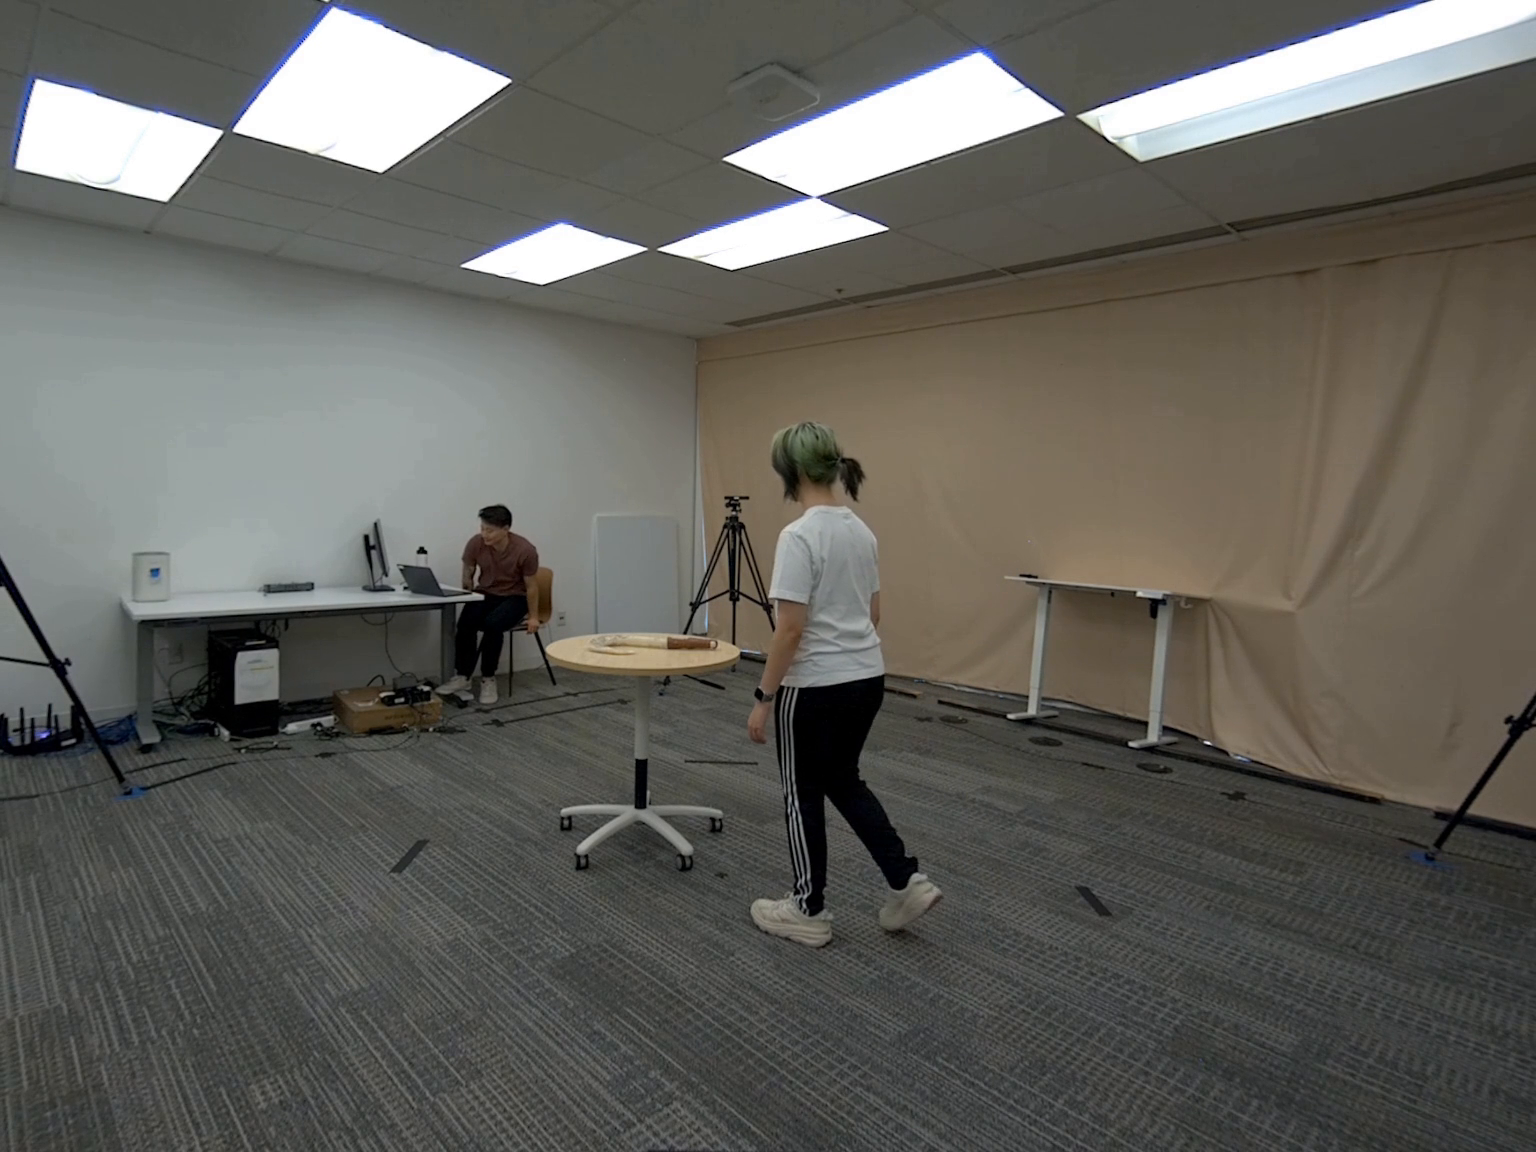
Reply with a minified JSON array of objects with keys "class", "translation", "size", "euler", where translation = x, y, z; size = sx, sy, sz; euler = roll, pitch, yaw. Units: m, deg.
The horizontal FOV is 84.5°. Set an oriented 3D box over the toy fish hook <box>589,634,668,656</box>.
[{"class":"toy fish hook","translation":[-0.457,0.276,3.318],"size":[0.506,0.048,0.226],"euler":[0,12,0]}]
